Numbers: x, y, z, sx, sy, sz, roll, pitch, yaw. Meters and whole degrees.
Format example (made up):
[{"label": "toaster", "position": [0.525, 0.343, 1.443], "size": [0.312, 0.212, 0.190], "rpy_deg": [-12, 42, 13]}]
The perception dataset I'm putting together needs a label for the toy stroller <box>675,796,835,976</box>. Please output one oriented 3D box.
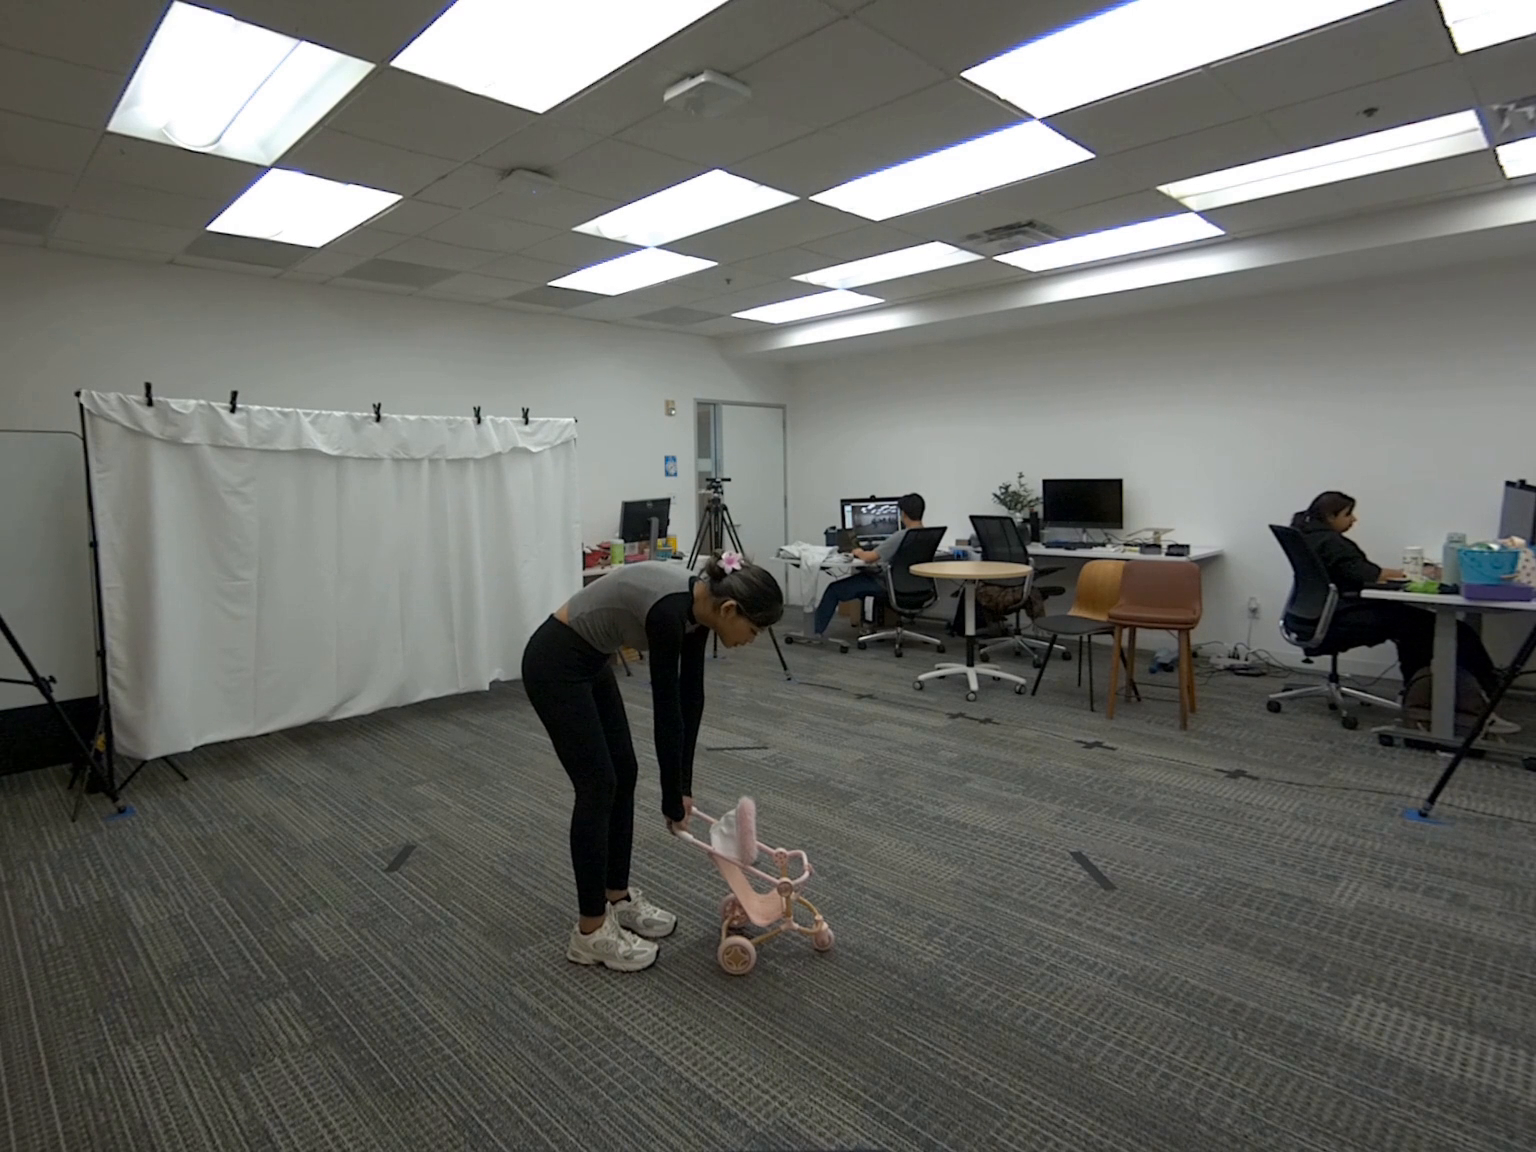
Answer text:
[{"label": "toy stroller", "position": [-0.035, 0.886, 2.516], "size": [0.343, 0.533, 0.281], "rpy_deg": [-18, 3, 6]}]
